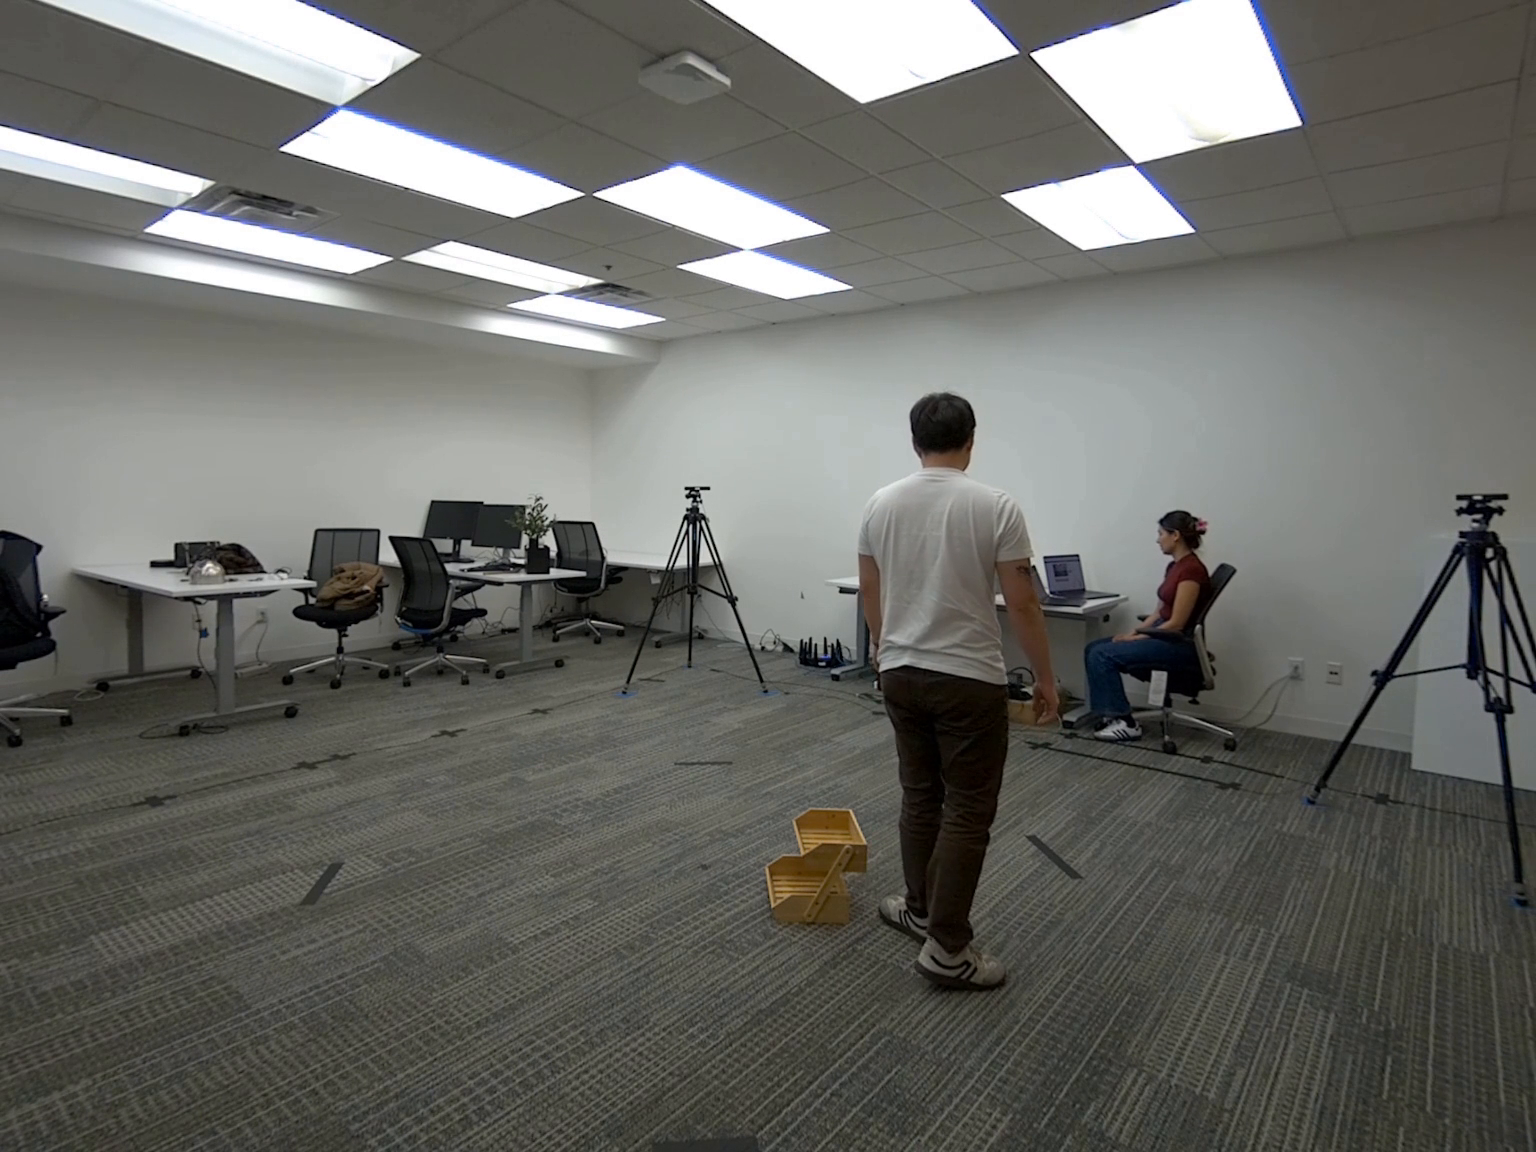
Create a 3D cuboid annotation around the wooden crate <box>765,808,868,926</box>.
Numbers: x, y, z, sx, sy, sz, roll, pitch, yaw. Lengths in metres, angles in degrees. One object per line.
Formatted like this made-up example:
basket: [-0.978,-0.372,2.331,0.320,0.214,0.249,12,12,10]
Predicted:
wooden crate: [0.142,0.960,2.866,0.301,0.272,0.326,1,4,-3]
